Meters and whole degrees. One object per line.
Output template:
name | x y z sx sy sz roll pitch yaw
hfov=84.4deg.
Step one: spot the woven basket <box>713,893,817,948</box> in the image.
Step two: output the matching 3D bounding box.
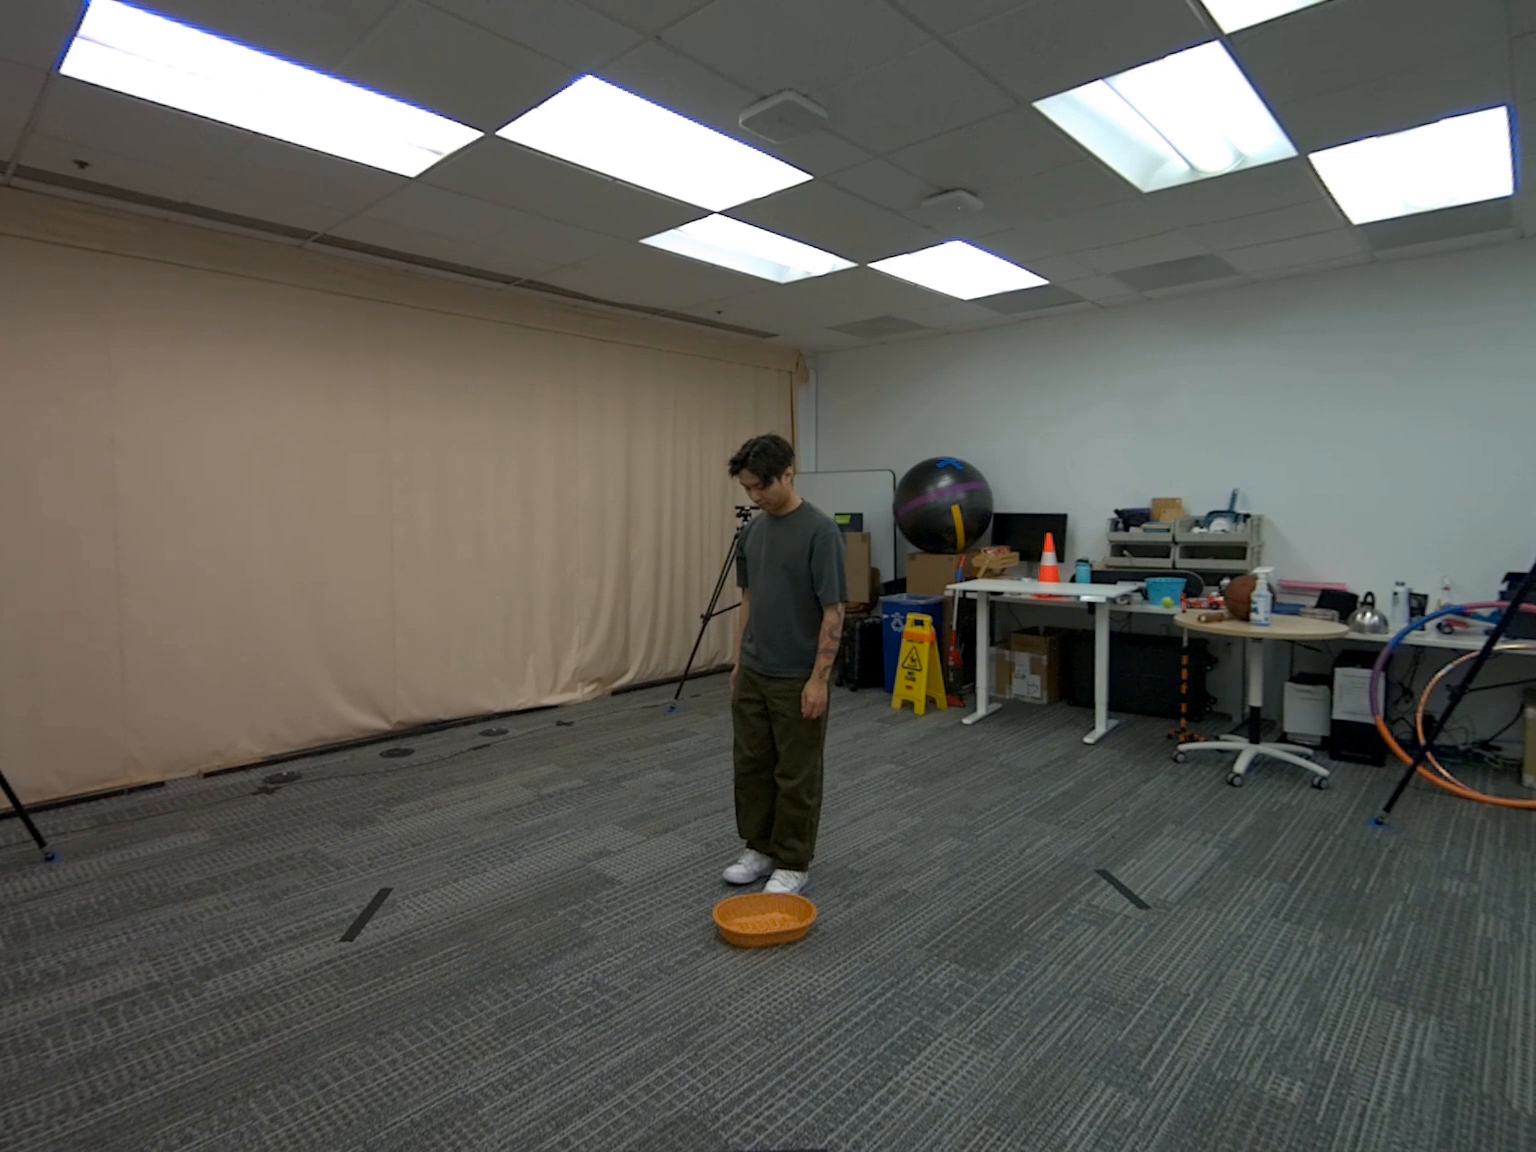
woven basket | -0.009 1.119 2.751 0.345 0.073 0.257 -1 5 -16
